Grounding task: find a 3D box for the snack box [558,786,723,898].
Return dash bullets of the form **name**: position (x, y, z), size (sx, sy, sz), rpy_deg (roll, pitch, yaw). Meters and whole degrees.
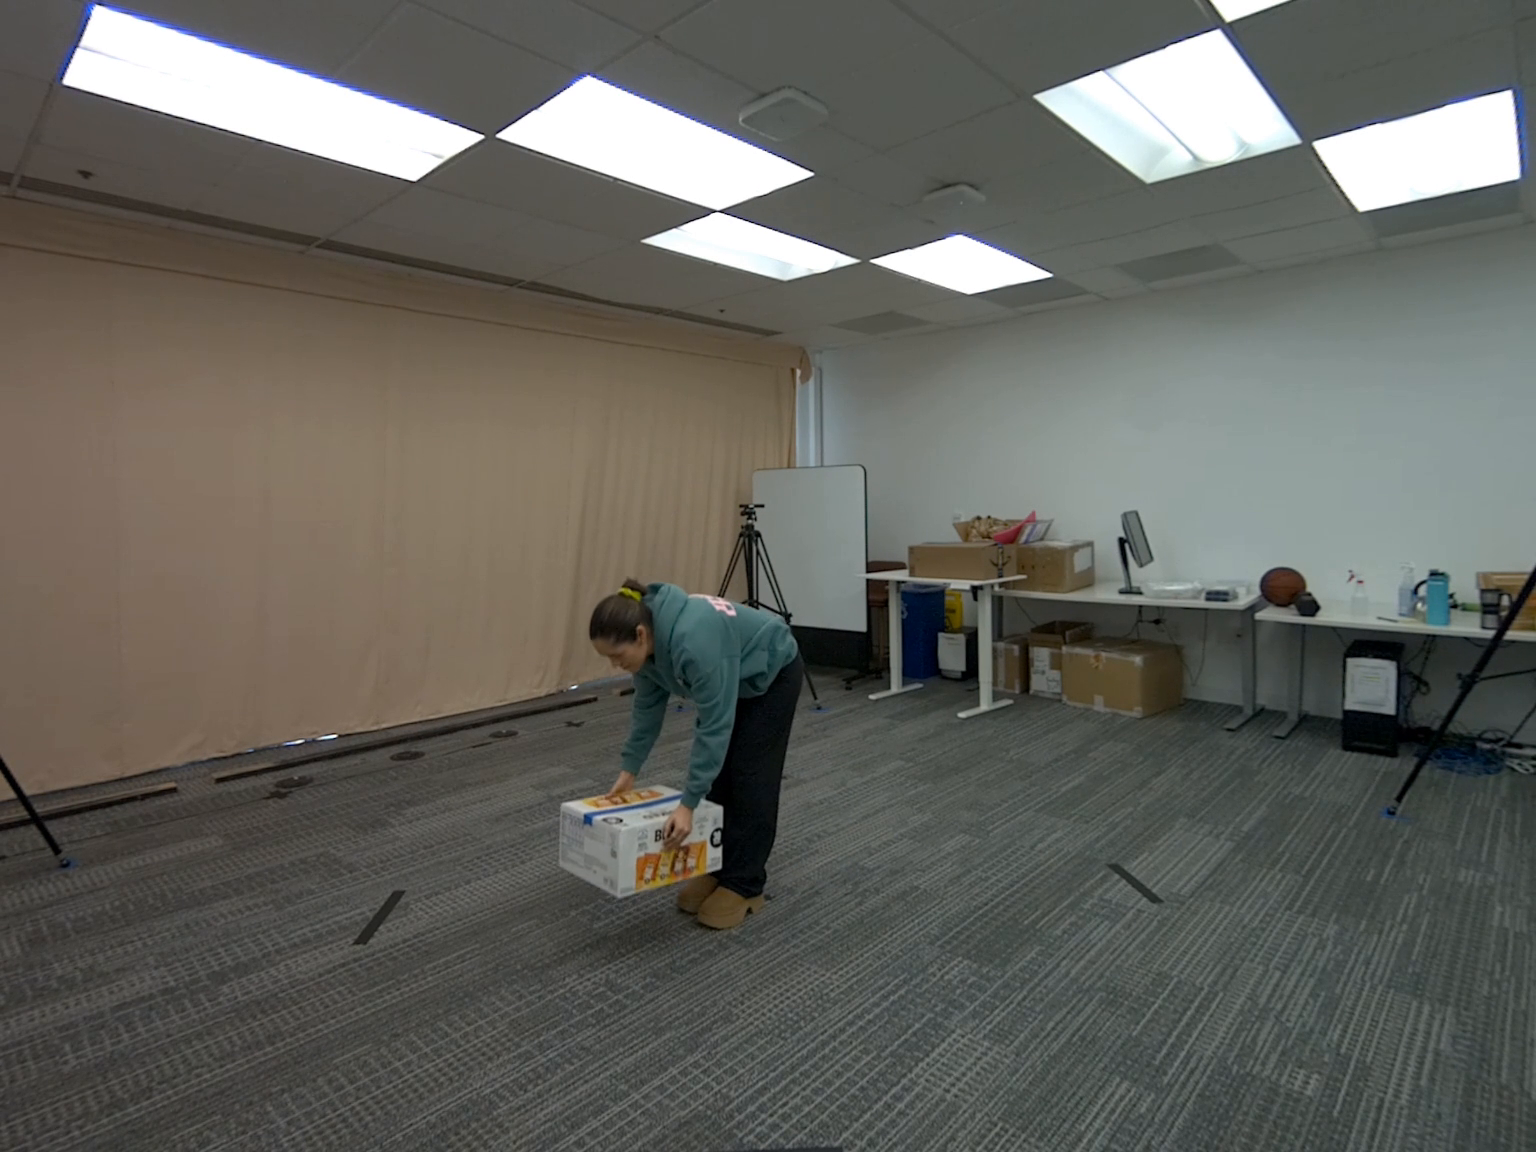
- **snack box**: position (-0.411, 0.830, 2.696), size (0.392, 0.206, 0.351), rpy_deg (2, -1, -43)
